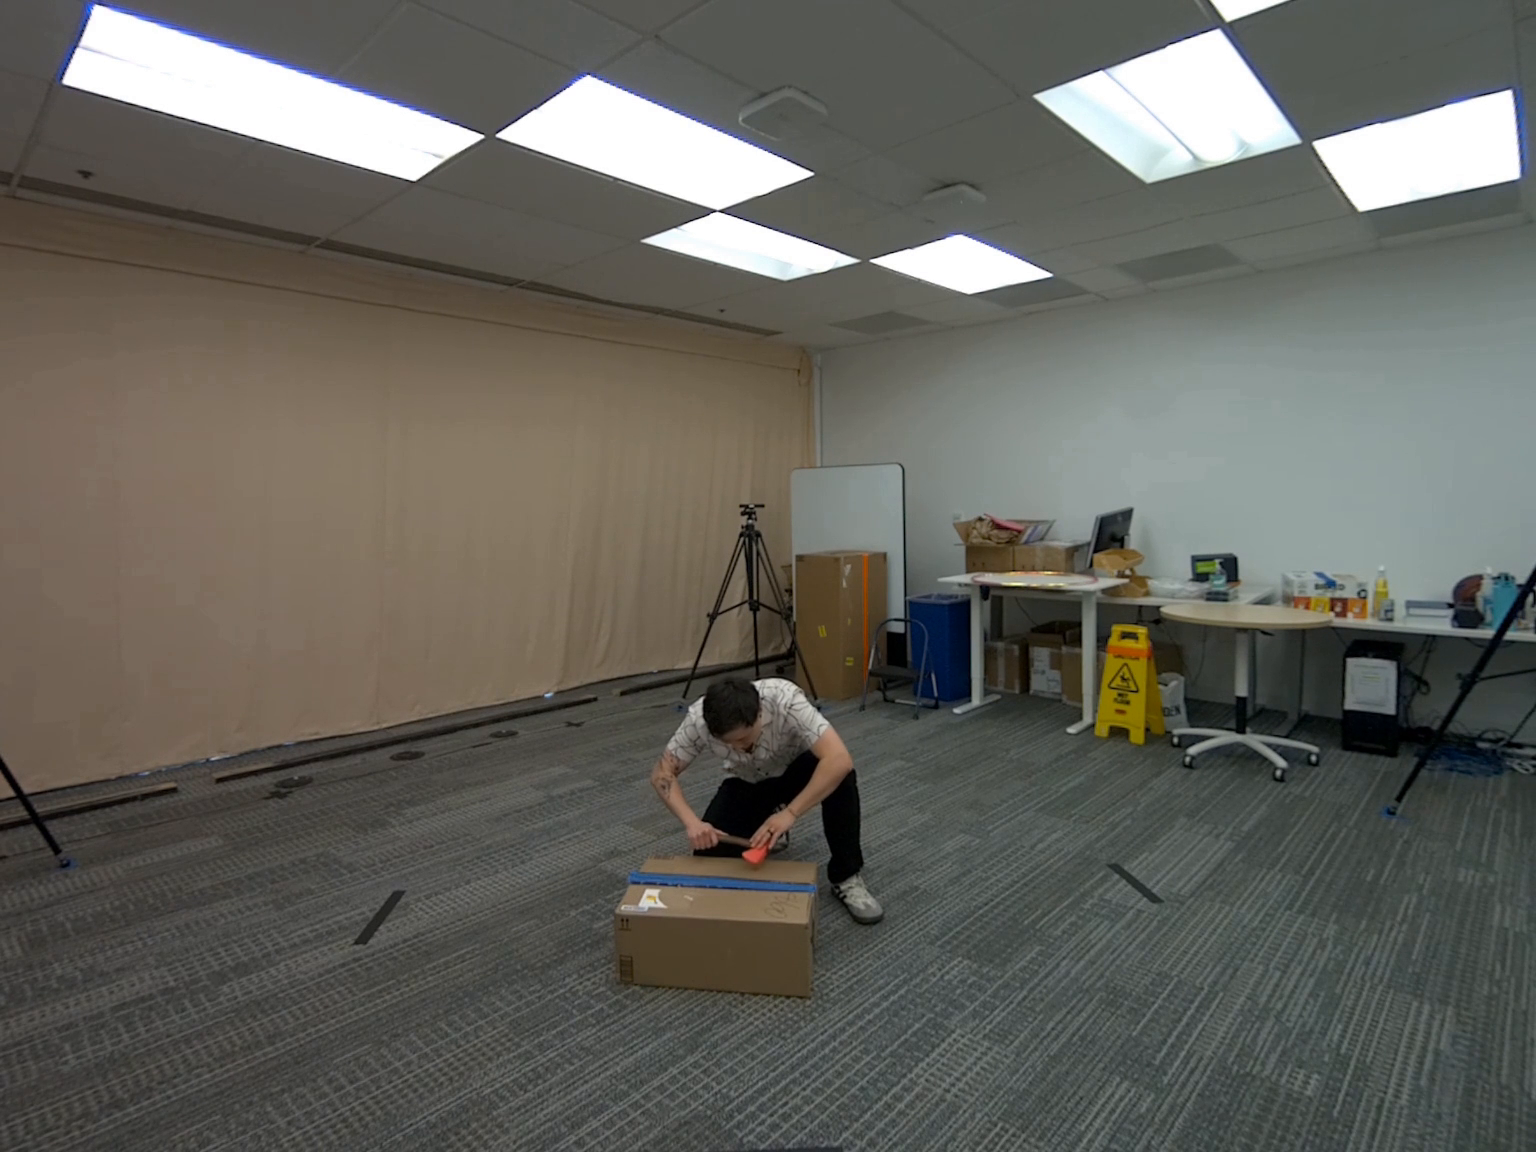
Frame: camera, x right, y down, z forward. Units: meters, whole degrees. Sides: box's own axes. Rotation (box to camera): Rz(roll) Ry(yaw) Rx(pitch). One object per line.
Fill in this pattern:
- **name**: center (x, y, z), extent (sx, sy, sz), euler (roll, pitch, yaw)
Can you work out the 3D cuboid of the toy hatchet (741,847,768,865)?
- **toy hatchet**: center (-0.111, 0.891, 2.734), extent (0.271, 0.029, 0.133), euler (-10, 28, 2)
